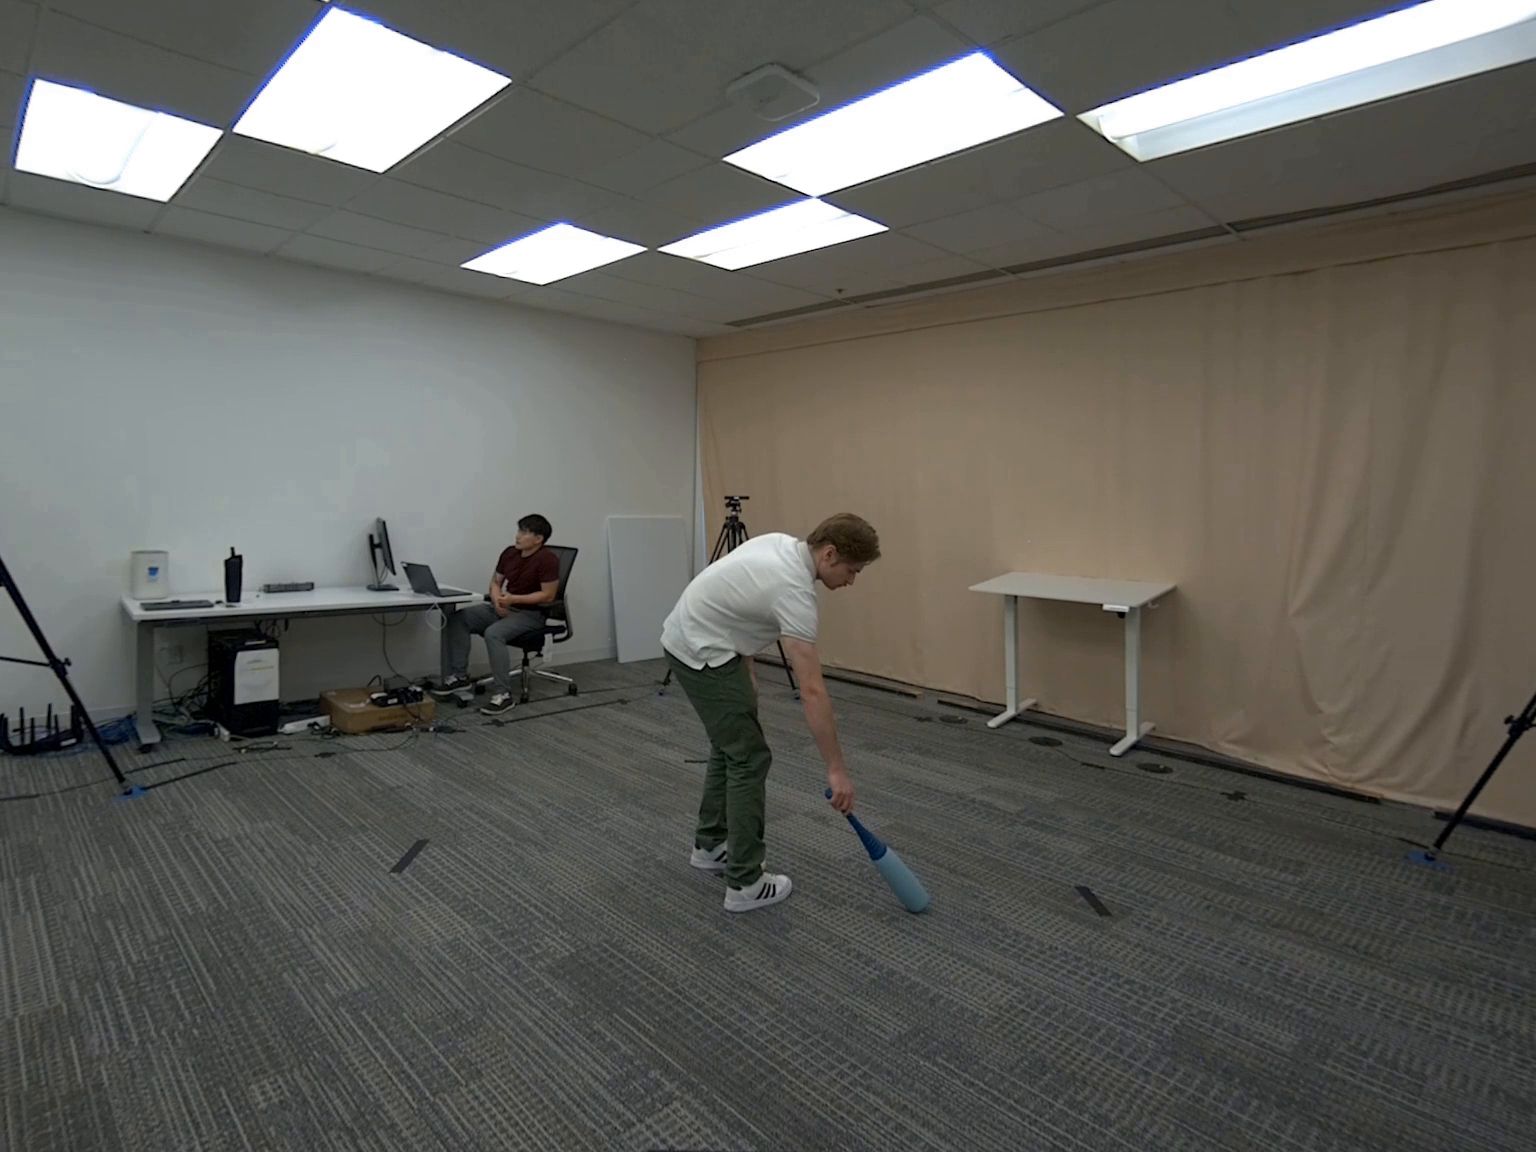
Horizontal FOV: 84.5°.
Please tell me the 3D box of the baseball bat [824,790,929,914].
[{"bbox_3d":[0.352,0.917,2.829,0.089,0.537,0.090,-38,11,8],"label":"baseball bat"}]
